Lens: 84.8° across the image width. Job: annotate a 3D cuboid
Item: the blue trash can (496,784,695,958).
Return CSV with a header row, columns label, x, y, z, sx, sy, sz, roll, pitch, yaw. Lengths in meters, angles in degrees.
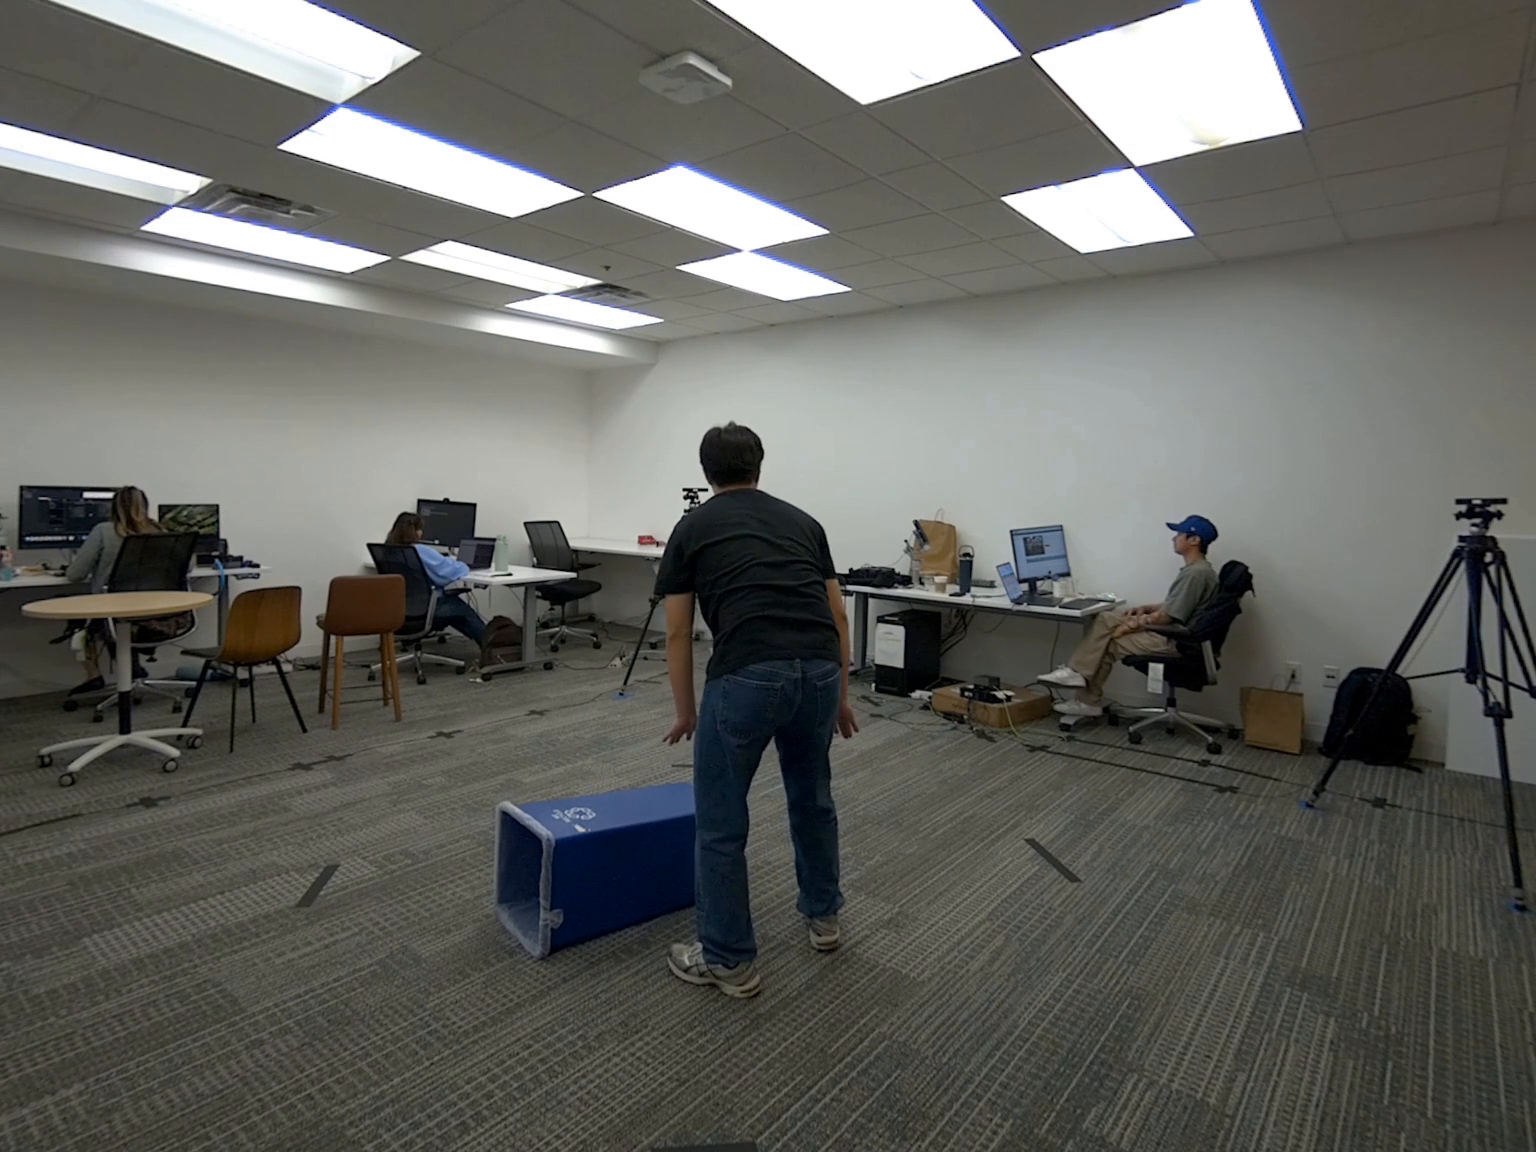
label,x,y,z,sx,sy,sz,roll,pitch,yaw
blue trash can,-0.511,0.924,2.830,0.691,0.377,0.387,1,3,-38
